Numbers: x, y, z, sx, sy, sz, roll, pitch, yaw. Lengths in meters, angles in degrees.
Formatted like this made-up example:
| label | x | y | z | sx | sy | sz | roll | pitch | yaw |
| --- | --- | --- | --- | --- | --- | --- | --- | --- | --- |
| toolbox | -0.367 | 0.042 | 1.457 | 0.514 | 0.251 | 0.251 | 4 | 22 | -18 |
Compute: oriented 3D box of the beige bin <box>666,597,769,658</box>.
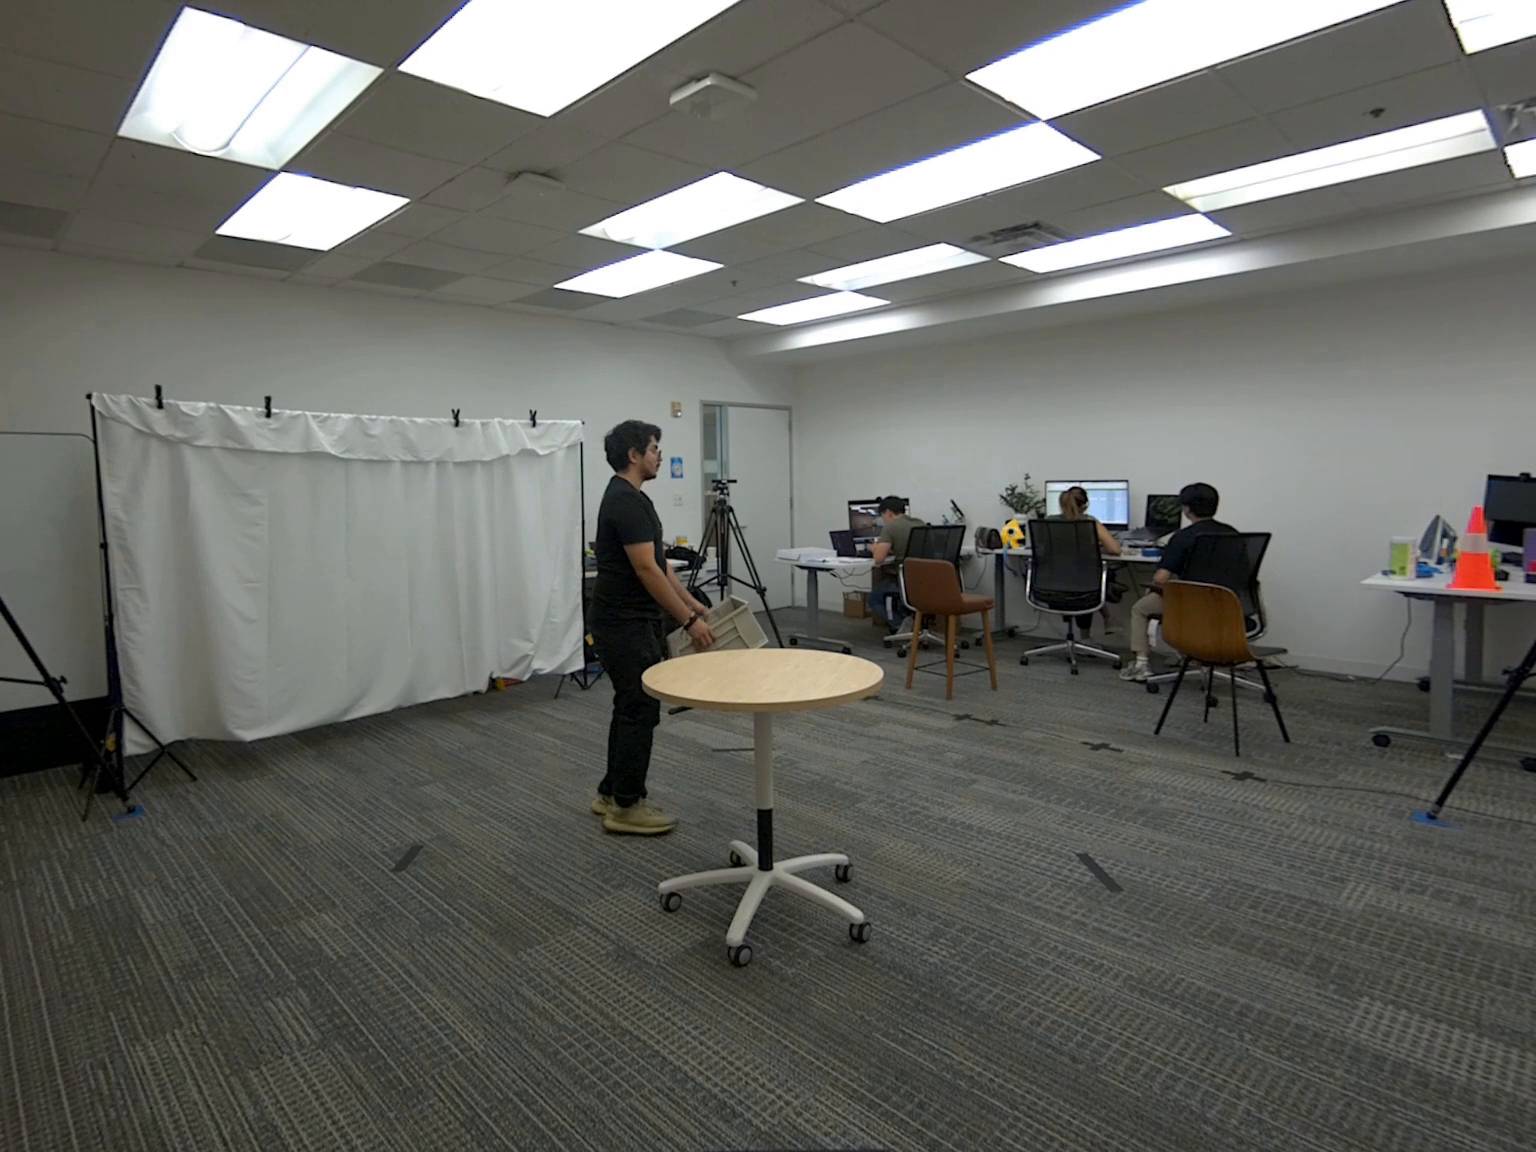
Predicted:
| label | x | y | z | sx | sy | sz | roll | pitch | yaw |
| --- | --- | --- | --- | --- | --- | --- | --- | --- | --- |
| beige bin | -0.230 | 0.273 | 3.582 | 0.376 | 0.187 | 0.427 | -32 | 7 | -9 |
